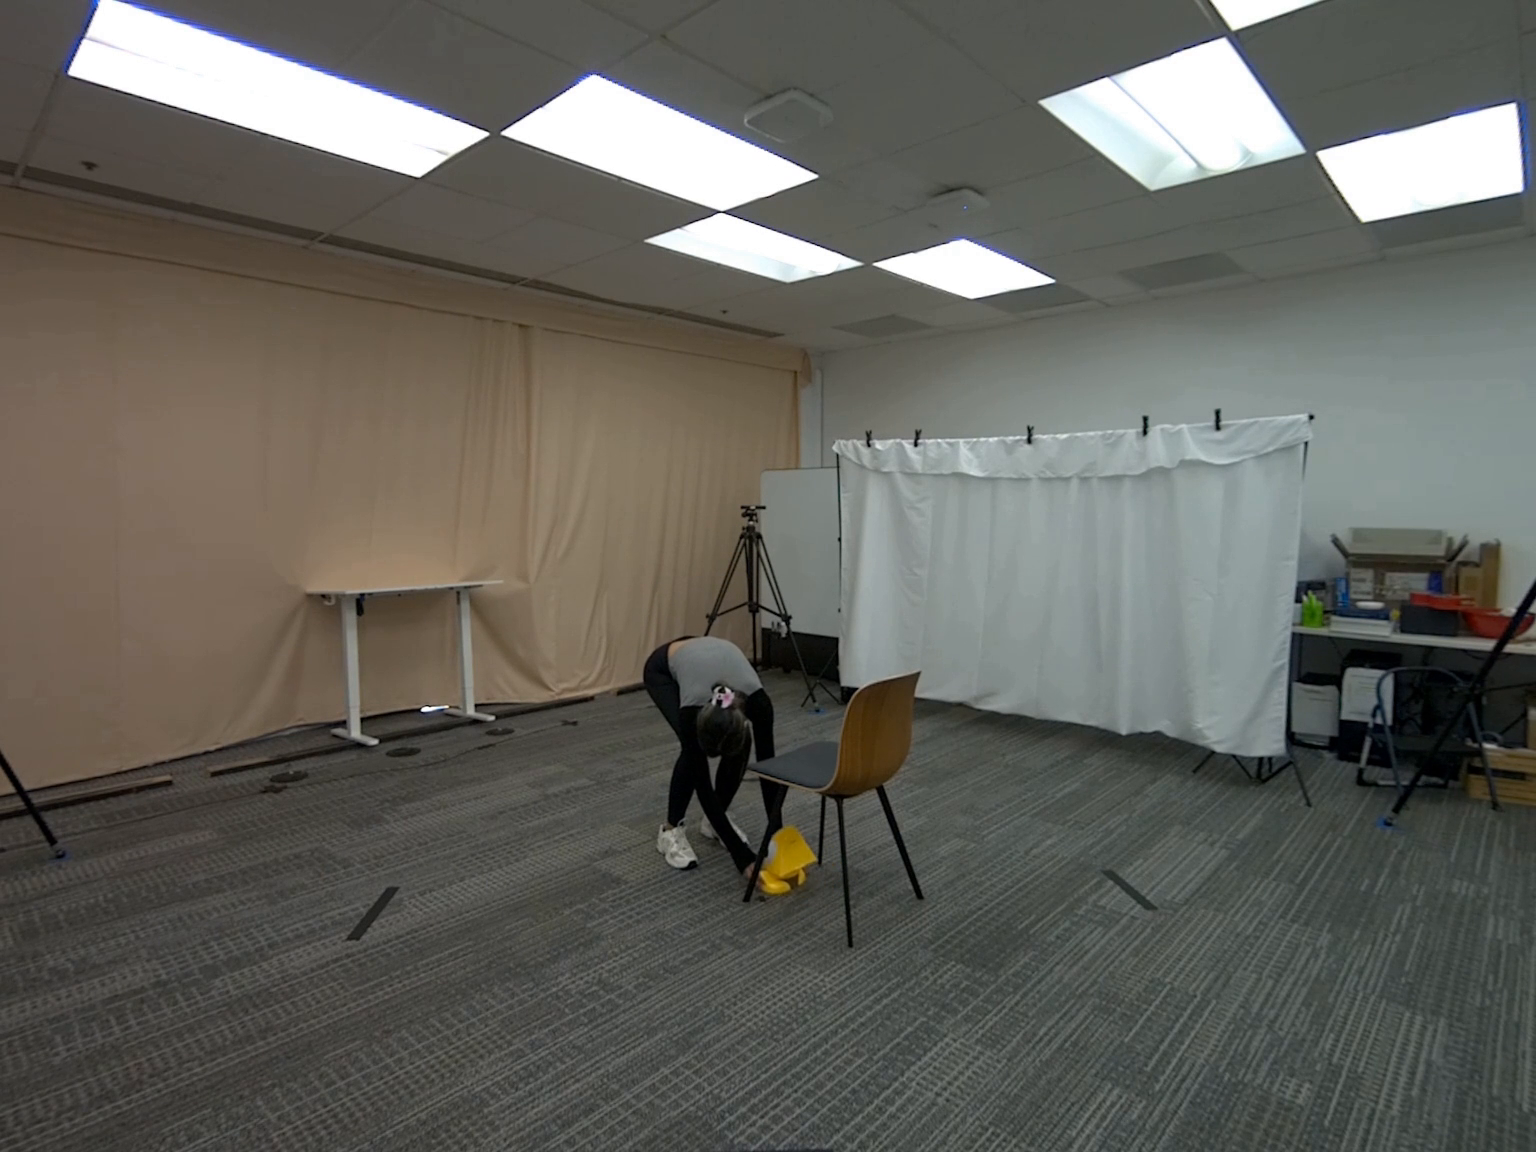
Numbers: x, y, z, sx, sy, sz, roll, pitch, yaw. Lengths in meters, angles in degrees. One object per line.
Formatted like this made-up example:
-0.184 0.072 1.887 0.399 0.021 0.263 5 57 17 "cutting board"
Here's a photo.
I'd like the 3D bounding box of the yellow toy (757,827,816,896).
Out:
0.046 1.024 3.106 0.199 0.230 0.198 4 5 44 "yellow toy"
